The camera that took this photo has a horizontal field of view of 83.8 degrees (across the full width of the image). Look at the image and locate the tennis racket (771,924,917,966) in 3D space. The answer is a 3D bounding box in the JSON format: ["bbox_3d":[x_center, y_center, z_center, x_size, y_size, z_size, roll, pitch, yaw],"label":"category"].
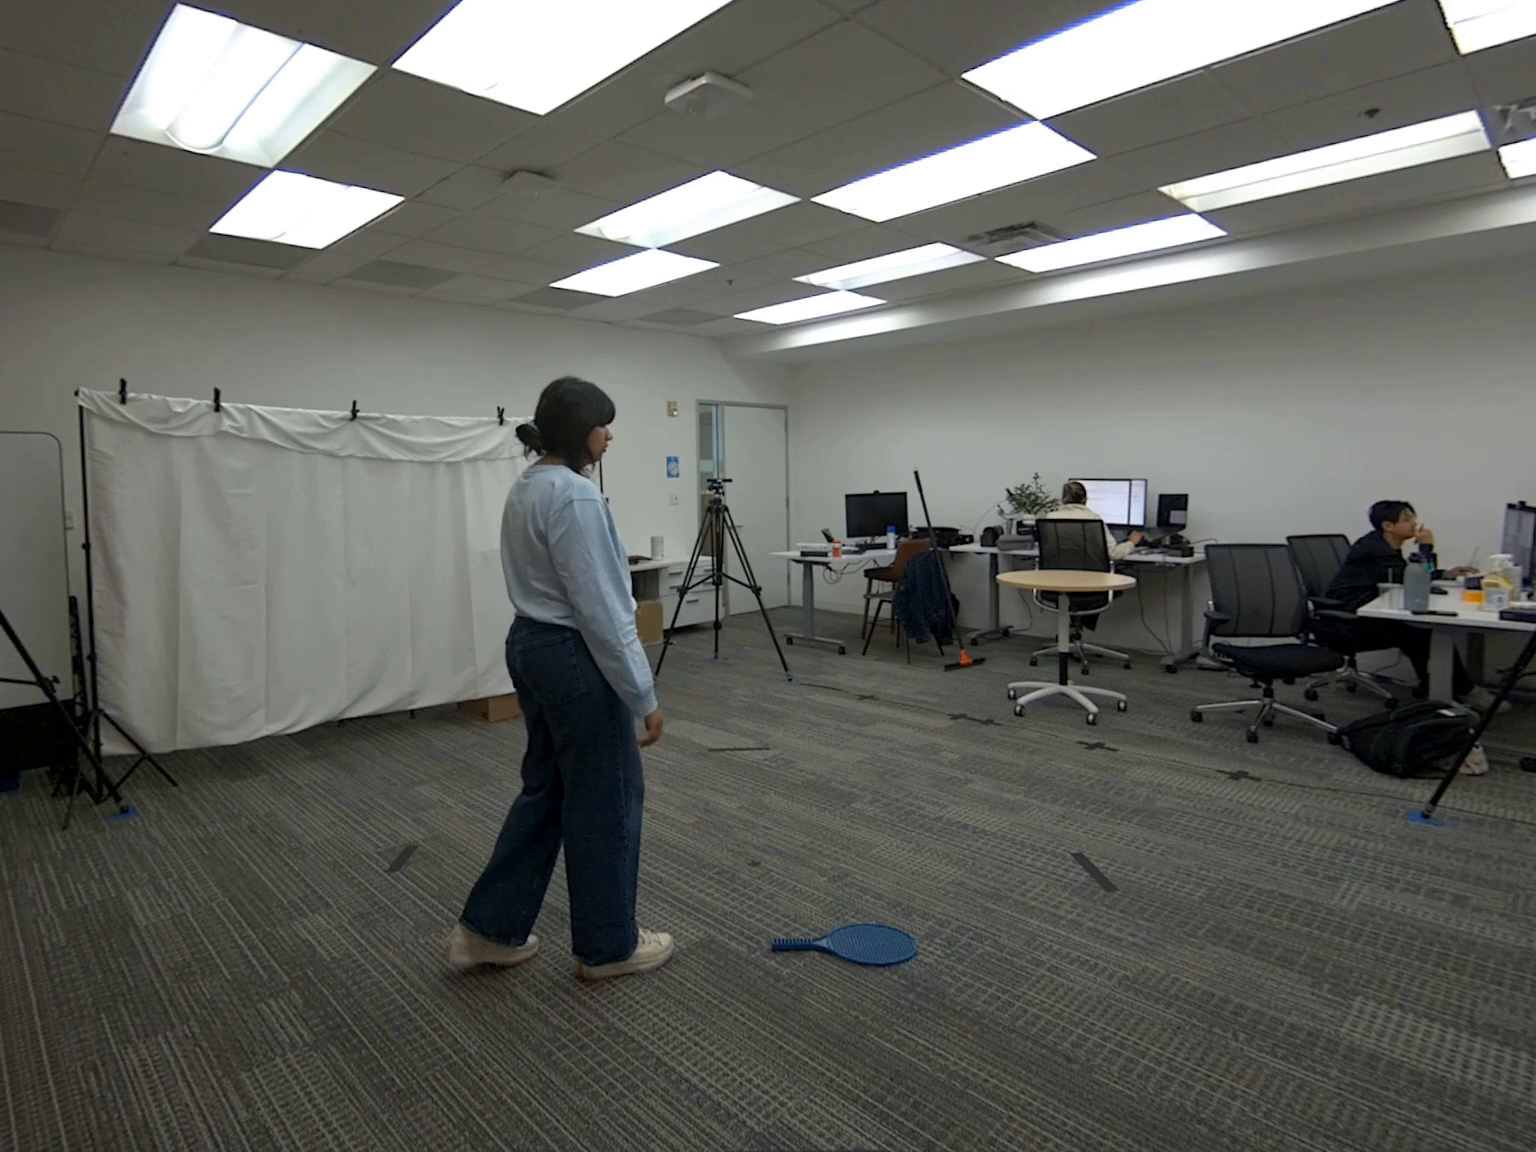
[{"bbox_3d":[0.228,1.091,2.543,0.431,0.031,0.215,0,6,-4],"label":"tennis racket"}]
